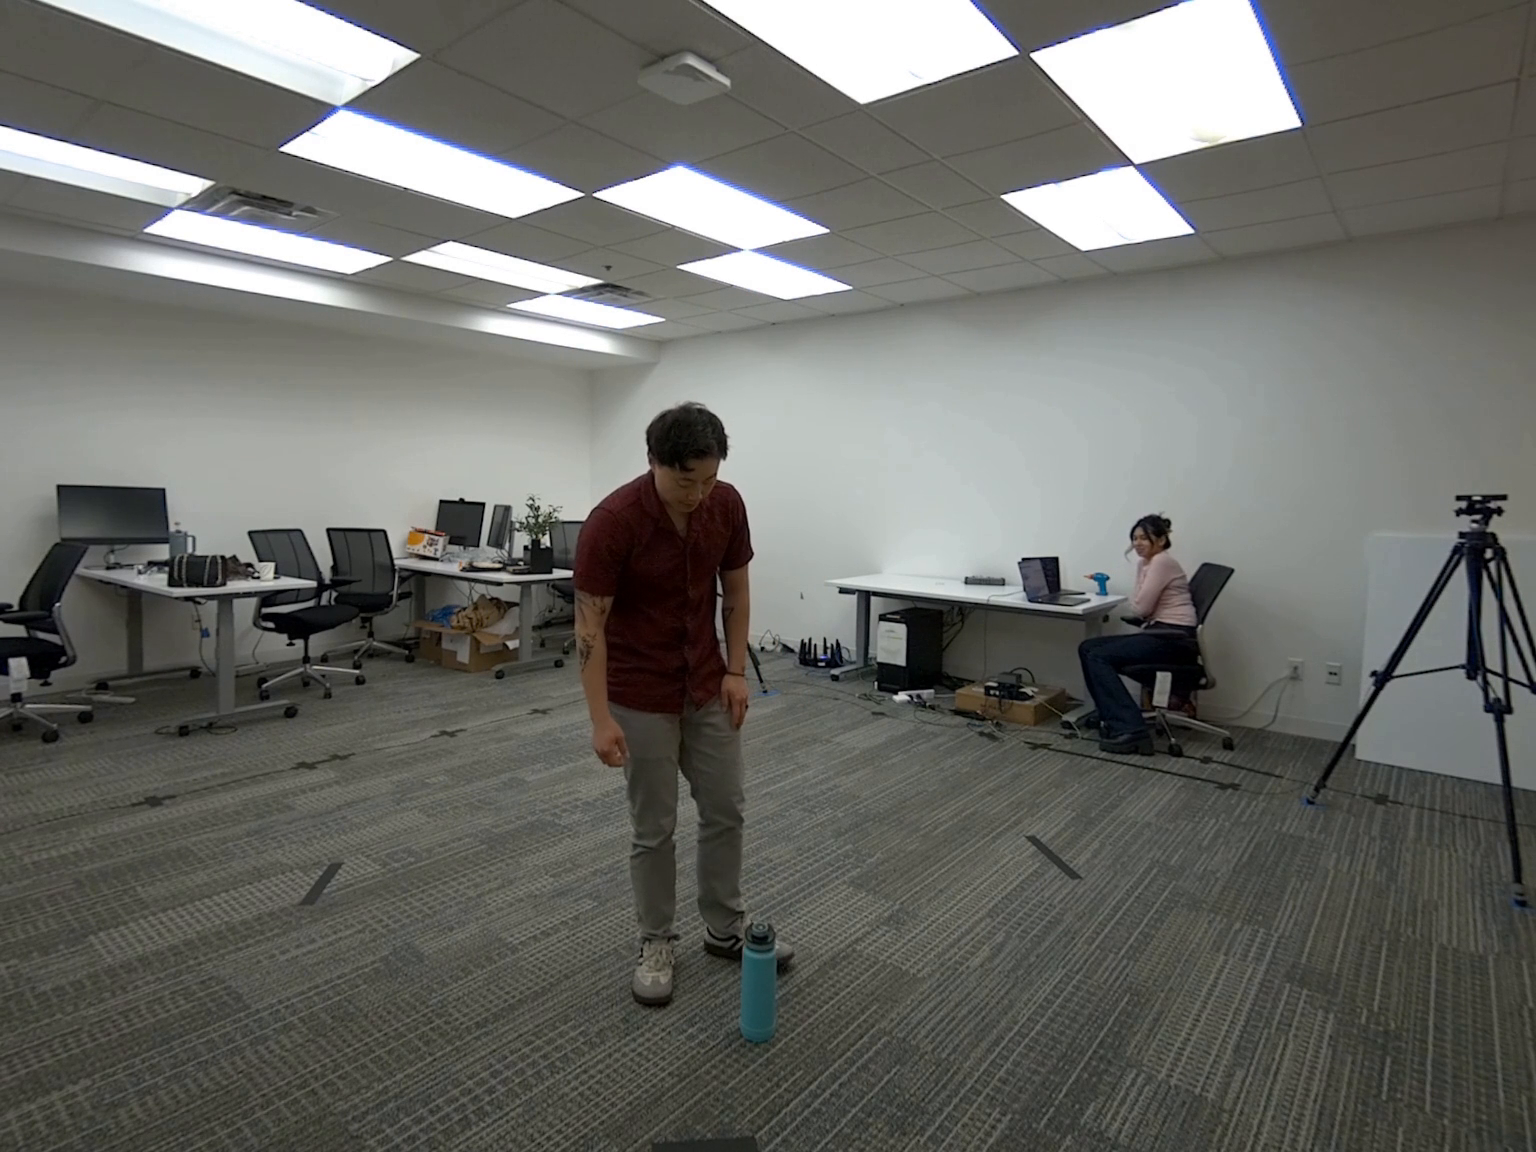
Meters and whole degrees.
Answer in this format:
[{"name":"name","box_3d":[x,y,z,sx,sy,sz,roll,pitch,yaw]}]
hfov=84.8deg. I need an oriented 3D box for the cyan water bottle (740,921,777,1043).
[{"name":"cyan water bottle","box_3d":[-0.027,1.019,2.181,0.092,0.283,0.092,1,1,-2]}]
